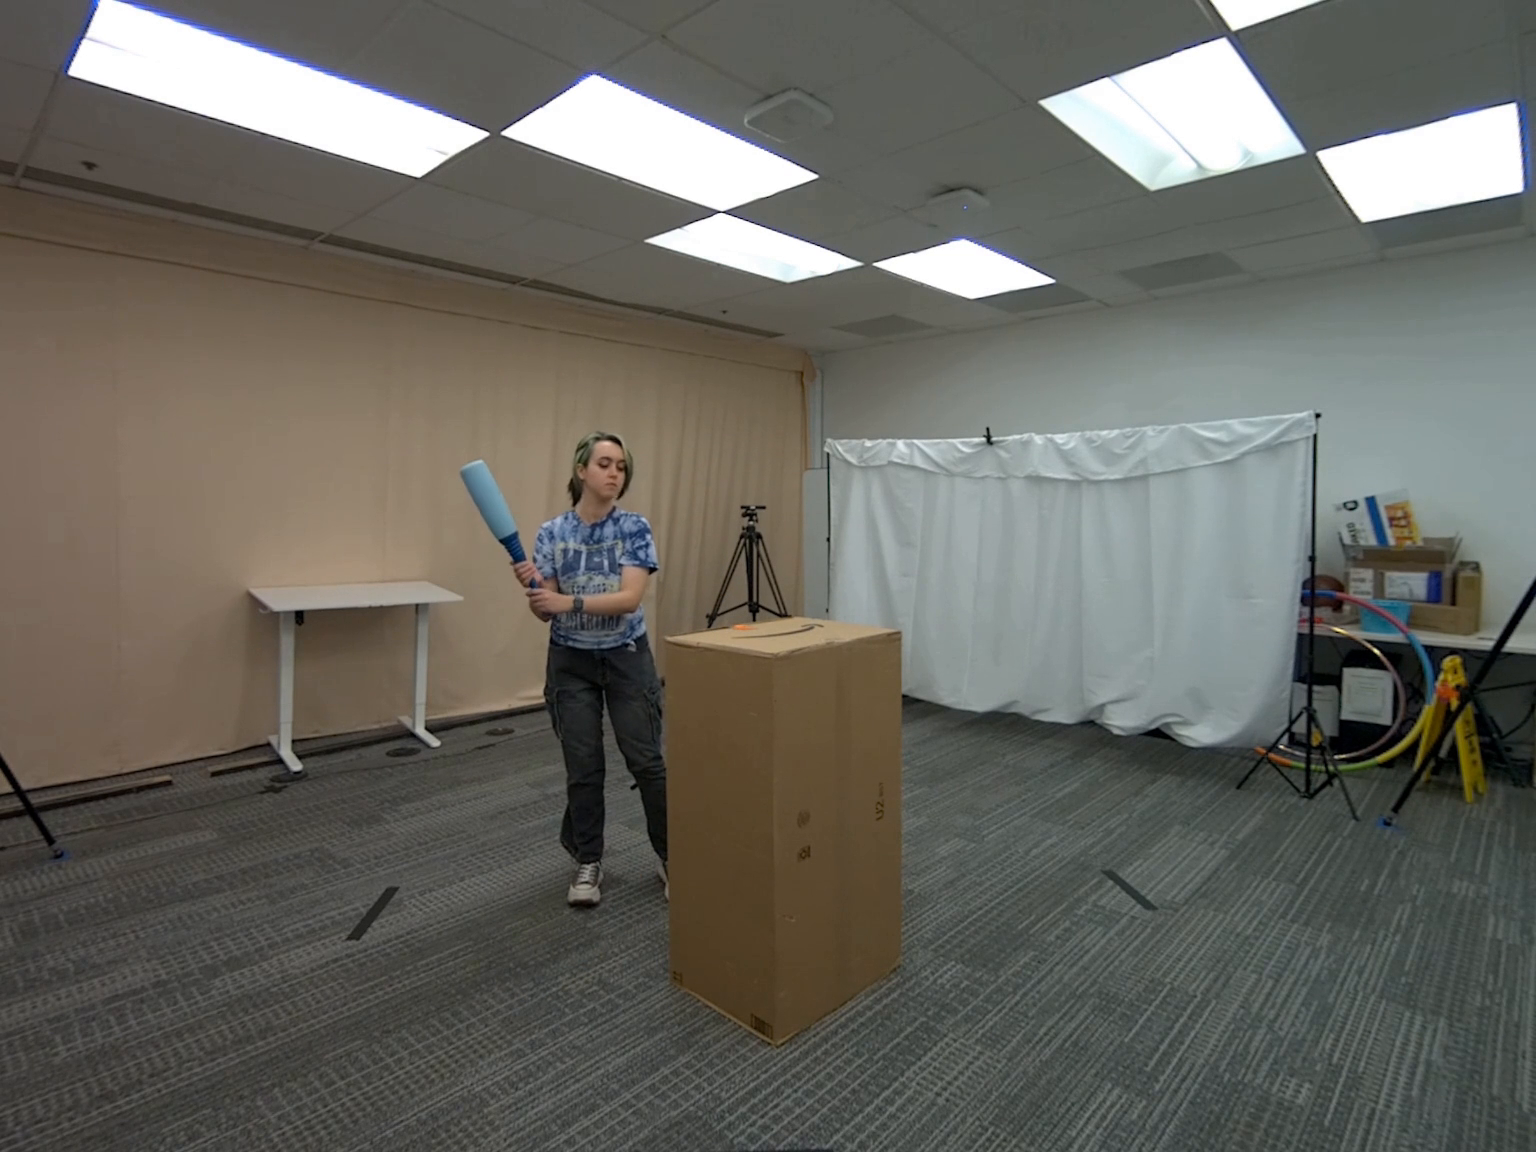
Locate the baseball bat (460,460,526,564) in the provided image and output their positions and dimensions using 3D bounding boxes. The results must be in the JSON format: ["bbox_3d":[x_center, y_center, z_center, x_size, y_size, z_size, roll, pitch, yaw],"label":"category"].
[{"bbox_3d":[-0.819,-0.106,2.667,0.089,0.537,0.090,-24,10,3],"label":"baseball bat"}]
